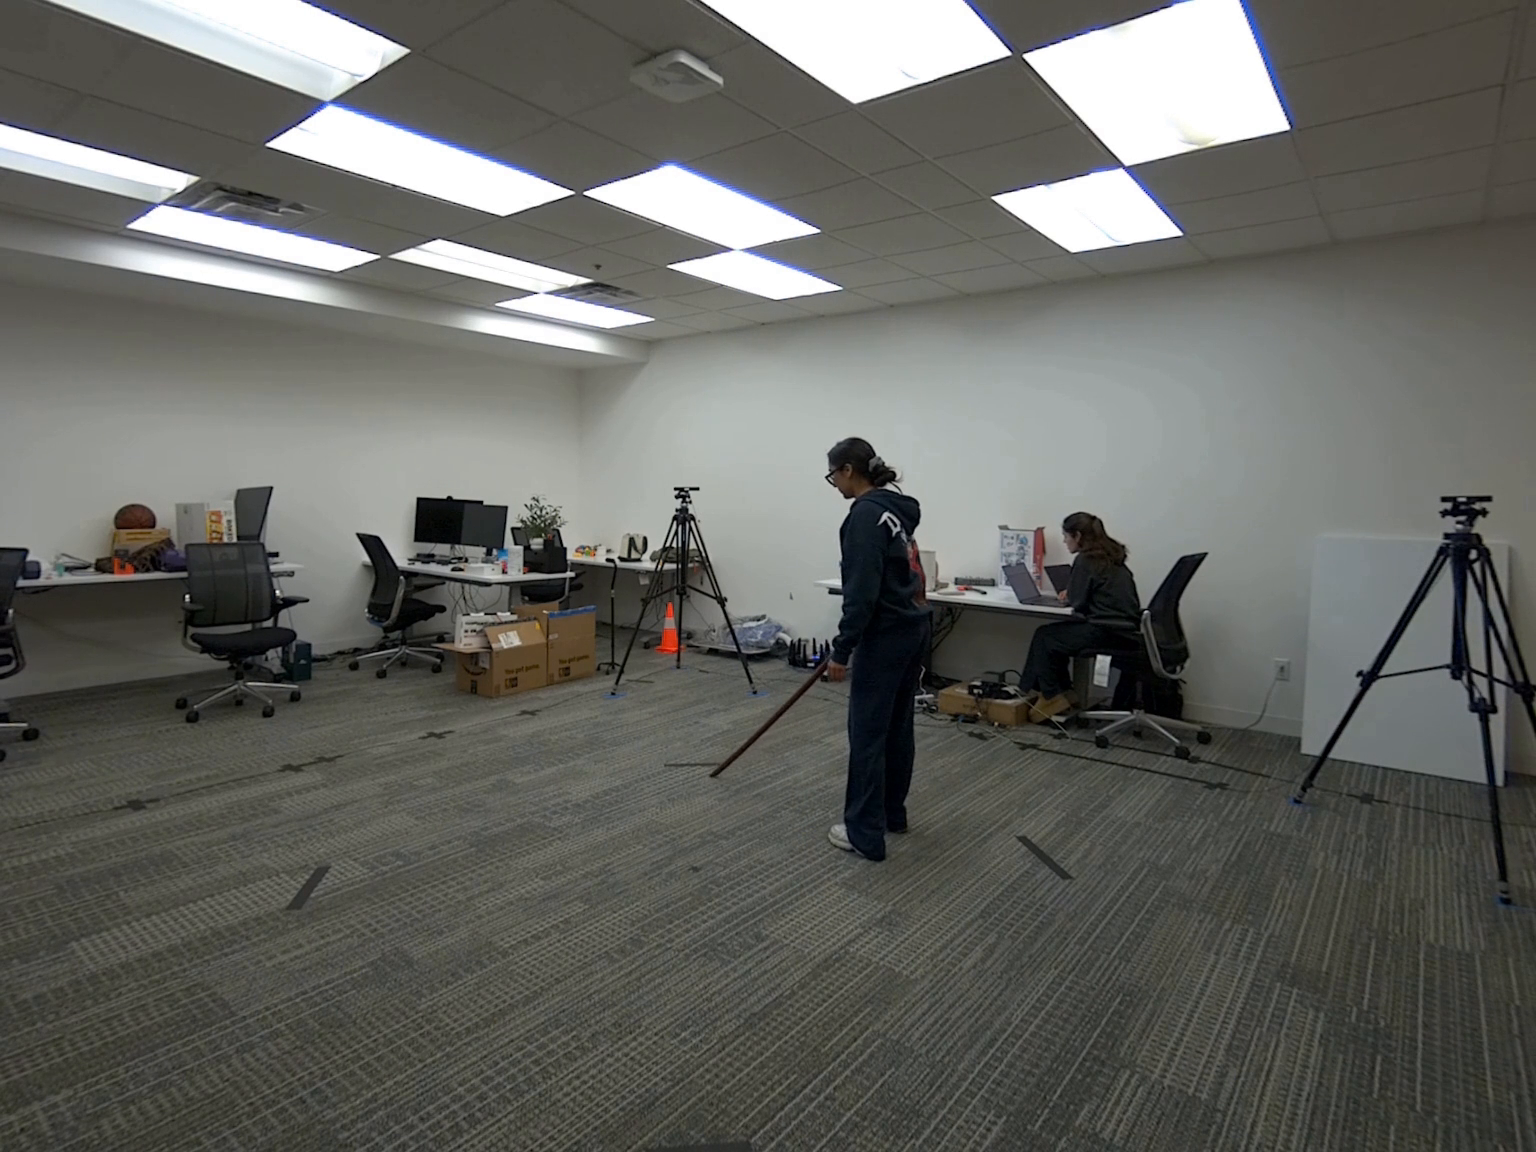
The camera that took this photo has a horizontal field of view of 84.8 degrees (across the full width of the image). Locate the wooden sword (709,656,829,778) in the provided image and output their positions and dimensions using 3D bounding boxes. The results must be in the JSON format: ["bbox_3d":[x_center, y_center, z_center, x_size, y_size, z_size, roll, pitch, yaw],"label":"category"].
[{"bbox_3d":[0.047,0.617,3.944,0.023,1.024,0.053,23,28,-43],"label":"wooden sword"}]
